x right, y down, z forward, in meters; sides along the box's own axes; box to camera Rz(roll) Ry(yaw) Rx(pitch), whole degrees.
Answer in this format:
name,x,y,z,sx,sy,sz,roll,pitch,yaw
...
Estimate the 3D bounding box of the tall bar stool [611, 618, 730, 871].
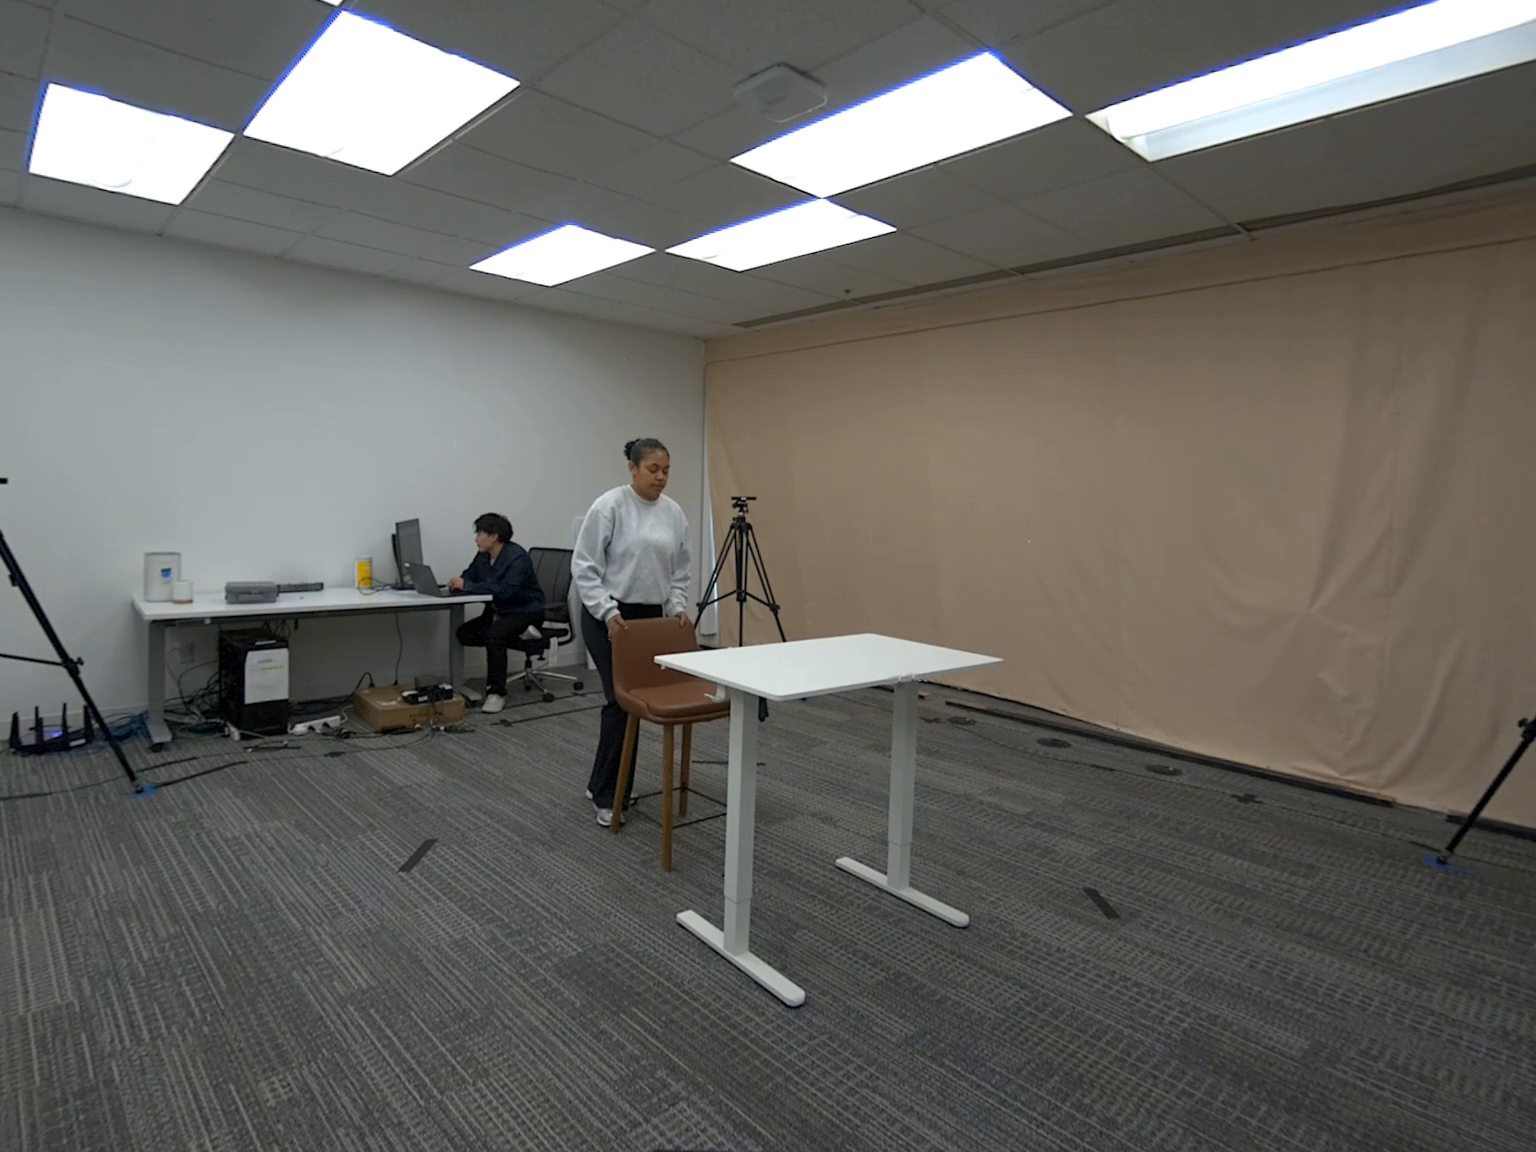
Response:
name,x,y,z,sx,sy,sz,roll,pitch,yaw
tall bar stool,-0.365,0.636,3.400,0.446,0.889,0.479,-1,2,-39
